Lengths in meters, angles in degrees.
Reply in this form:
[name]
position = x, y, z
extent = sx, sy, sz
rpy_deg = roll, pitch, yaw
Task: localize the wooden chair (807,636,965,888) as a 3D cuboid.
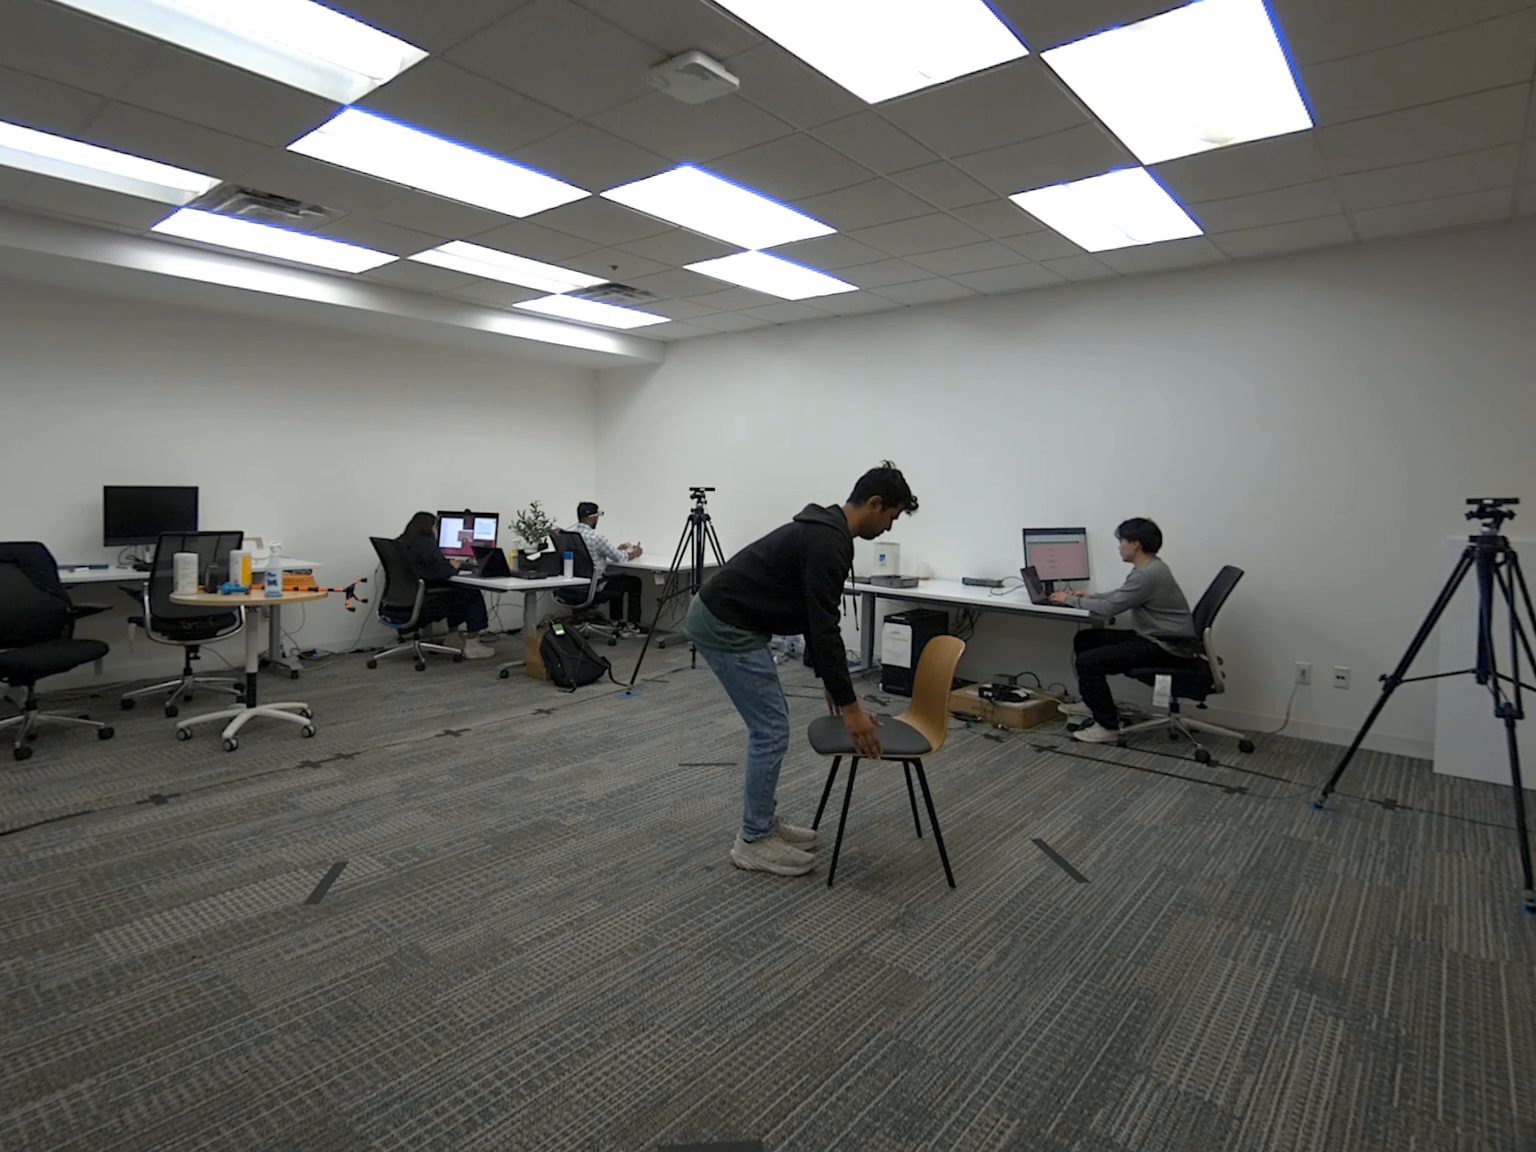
[wooden chair]
position = 0.411, 0.642, 3.181
extent = 0.521, 0.875, 0.481
rpy_deg = 6, 4, -4
